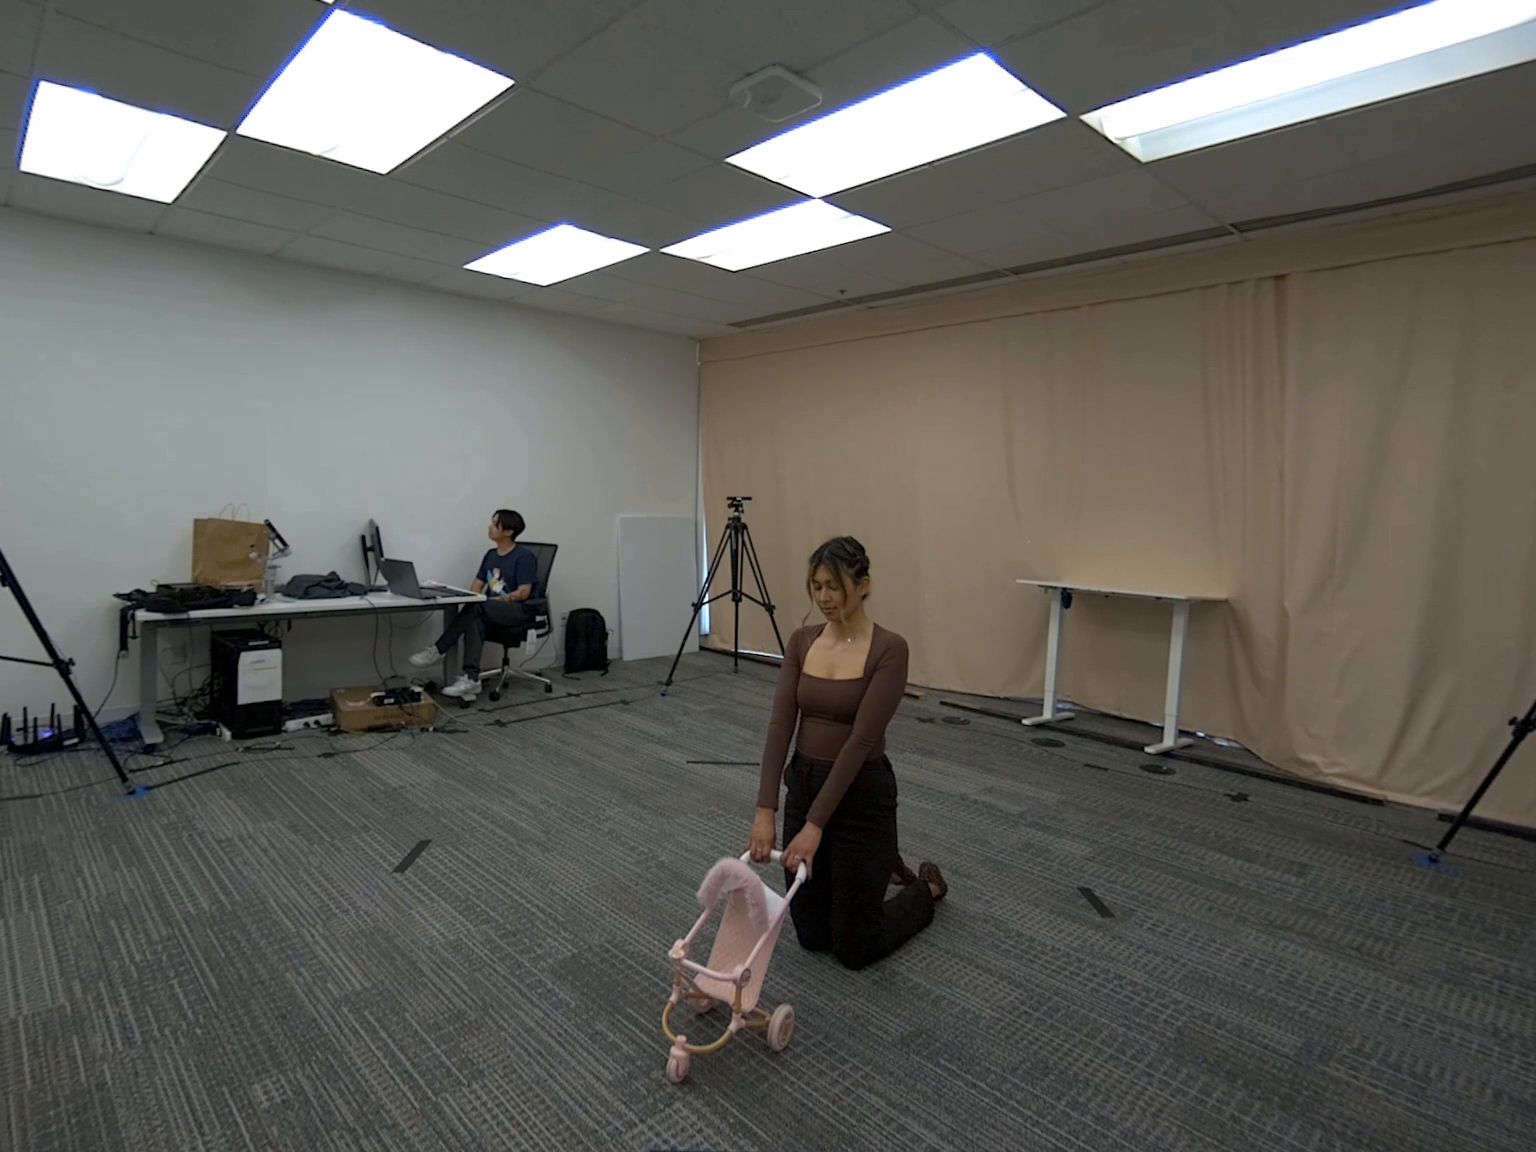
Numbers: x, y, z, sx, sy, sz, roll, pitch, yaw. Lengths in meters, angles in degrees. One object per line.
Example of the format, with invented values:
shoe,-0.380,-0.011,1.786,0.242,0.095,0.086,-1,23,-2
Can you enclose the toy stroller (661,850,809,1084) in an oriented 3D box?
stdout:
toy stroller,-0.105,0.974,2.148,0.288,0.538,0.331,4,-13,40
